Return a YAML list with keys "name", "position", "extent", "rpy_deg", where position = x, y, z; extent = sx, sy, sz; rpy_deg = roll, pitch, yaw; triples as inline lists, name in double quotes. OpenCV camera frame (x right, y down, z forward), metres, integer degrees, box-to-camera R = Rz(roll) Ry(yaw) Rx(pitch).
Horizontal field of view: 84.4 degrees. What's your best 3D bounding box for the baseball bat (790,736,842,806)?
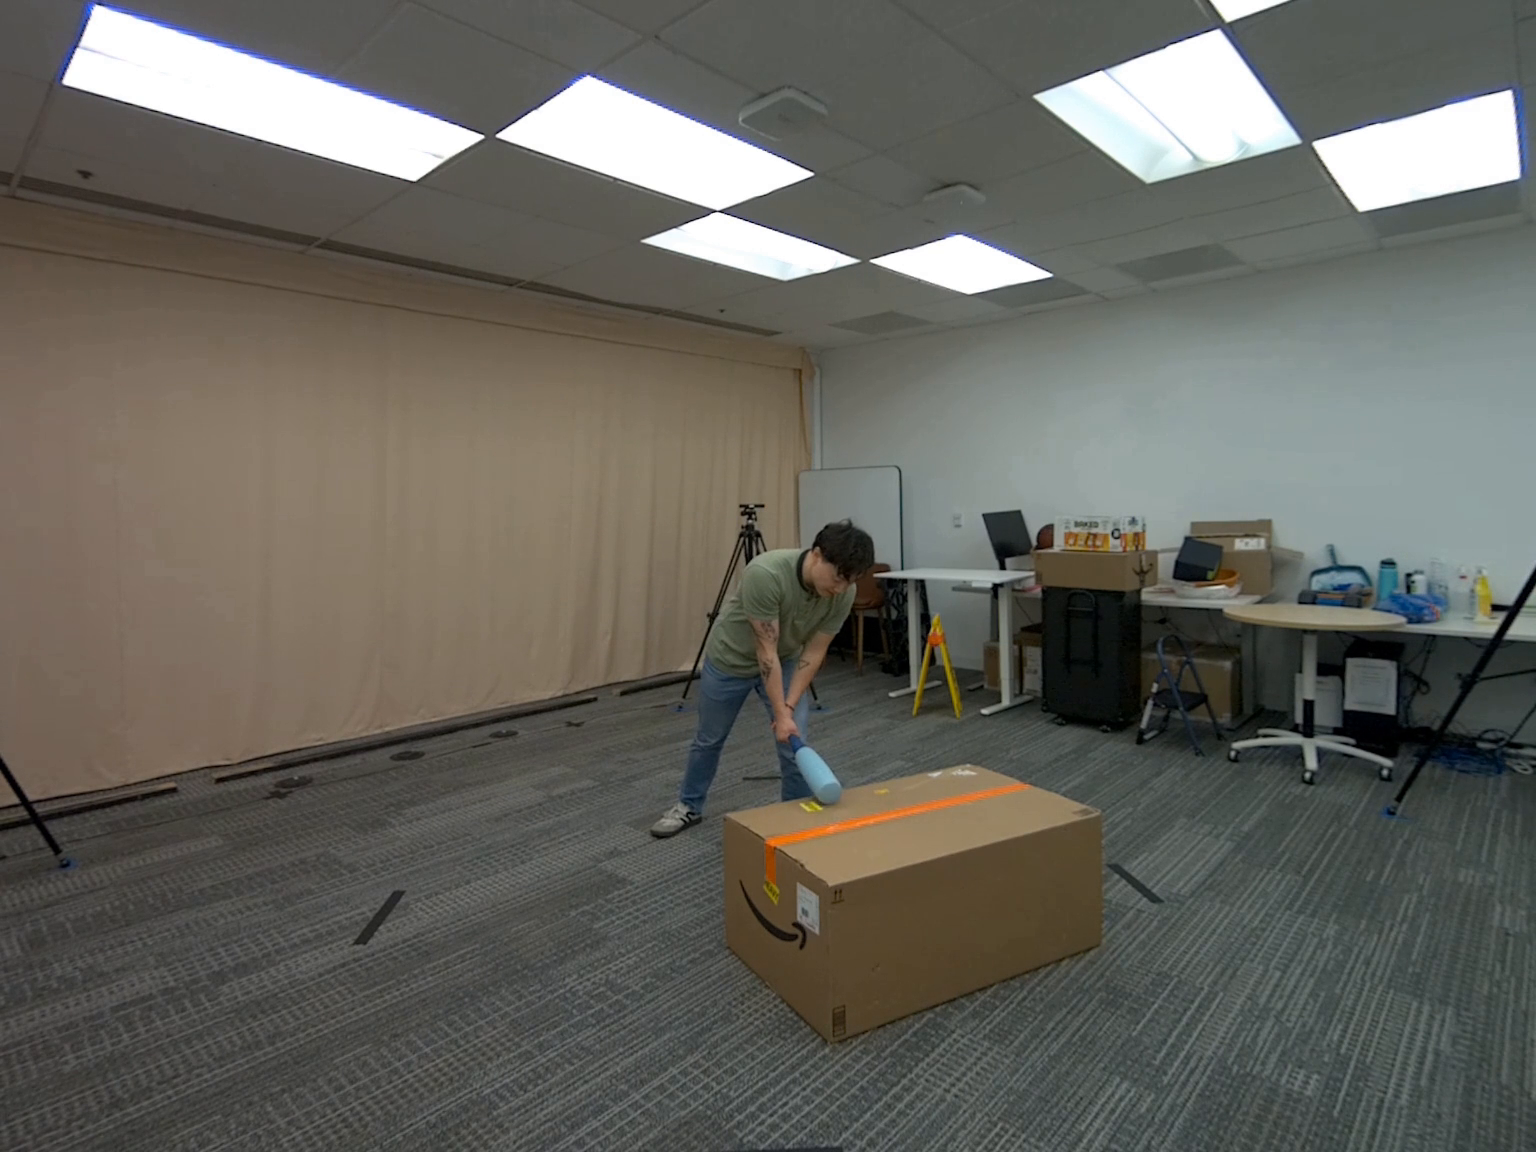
- name: "baseball bat"
  position: [0.128, 0.604, 2.918]
  extent: [0.088, 0.088, 0.556]
  rpy_deg: [-2, 17, -15]
